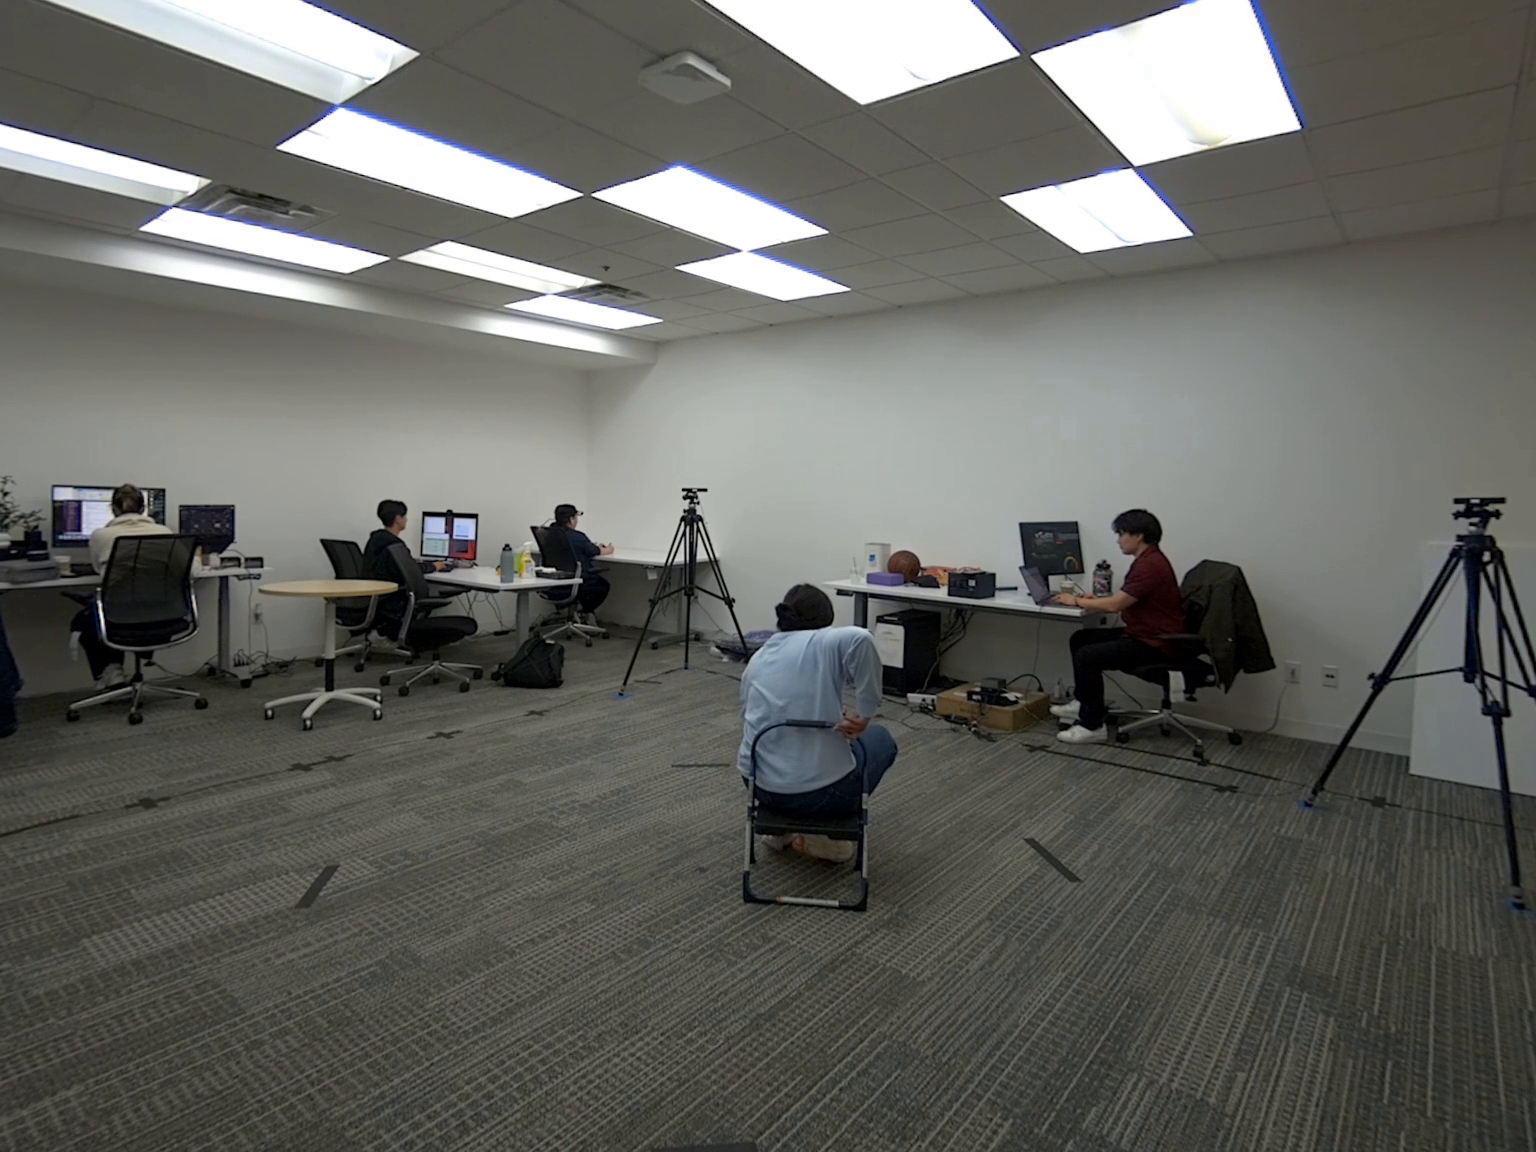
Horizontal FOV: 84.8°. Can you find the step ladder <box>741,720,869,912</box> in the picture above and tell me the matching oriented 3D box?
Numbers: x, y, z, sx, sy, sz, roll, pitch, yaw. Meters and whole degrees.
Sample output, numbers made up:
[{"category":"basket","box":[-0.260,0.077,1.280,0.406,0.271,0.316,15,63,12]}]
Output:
[{"category":"step ladder","box":[0.126,0.794,2.987,0.432,0.604,0.349,0,3,3]}]
